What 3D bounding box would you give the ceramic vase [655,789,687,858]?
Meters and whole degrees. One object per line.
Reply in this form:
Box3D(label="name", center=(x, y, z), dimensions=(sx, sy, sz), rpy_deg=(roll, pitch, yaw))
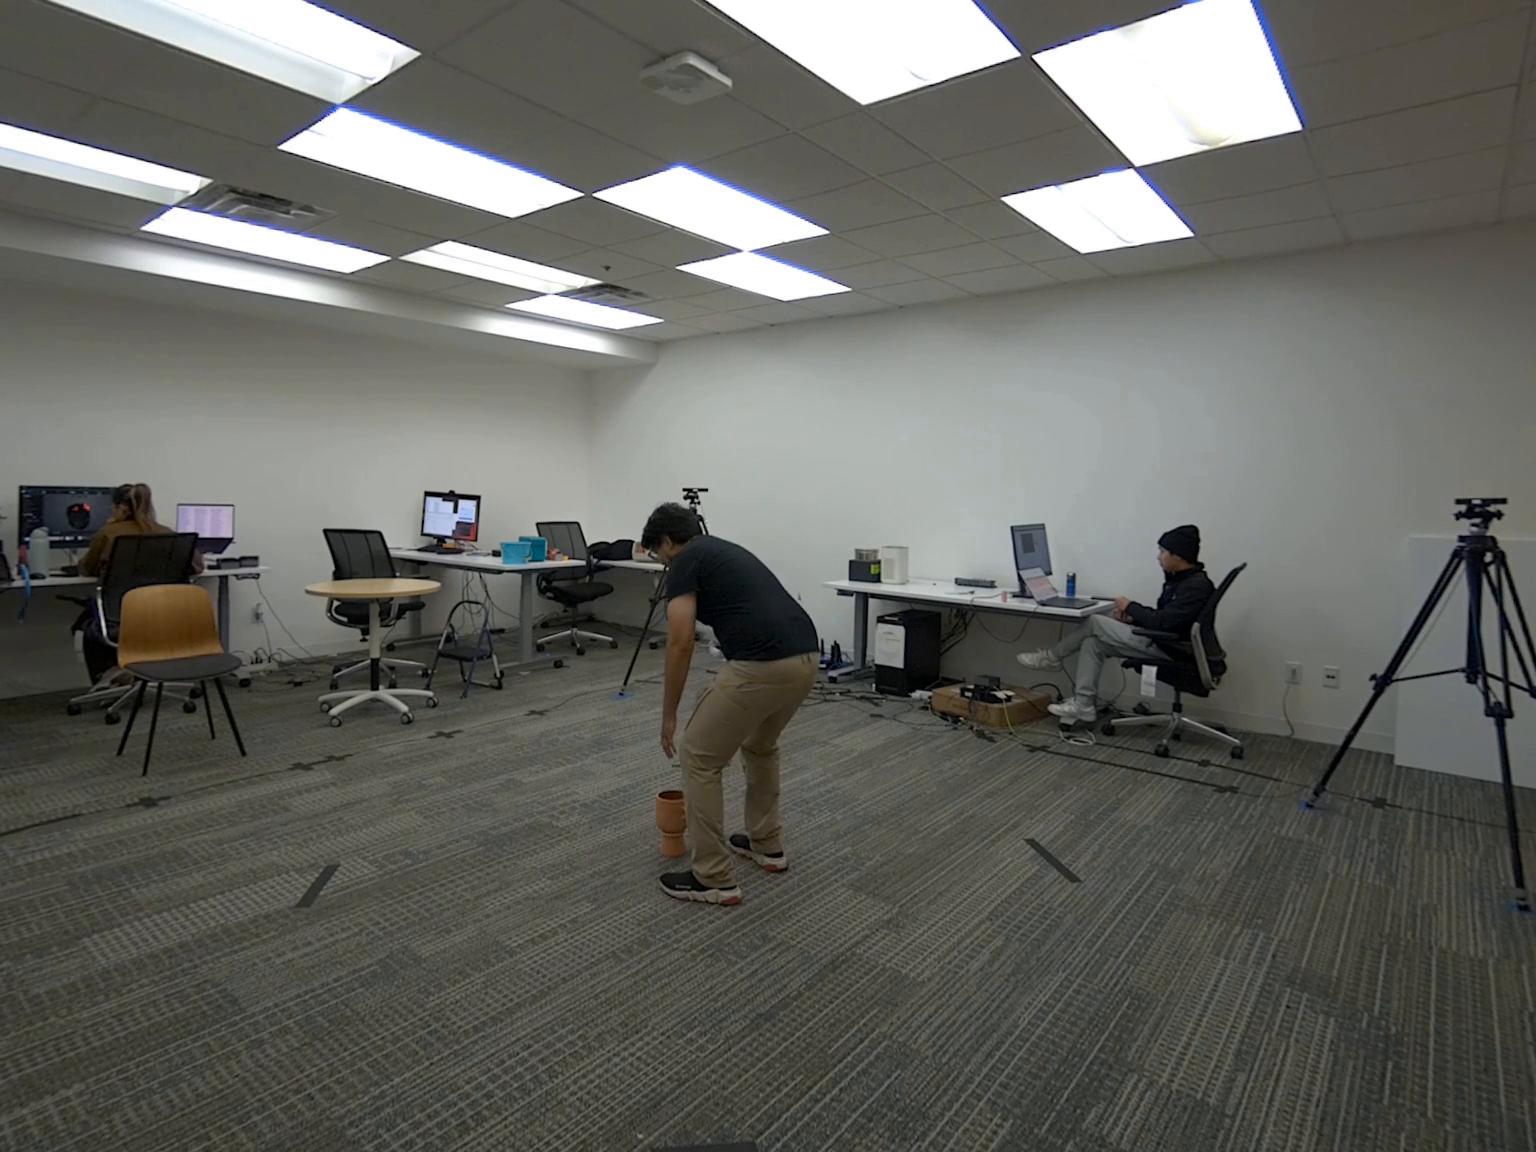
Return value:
Box3D(label="ceramic vase", center=(-0.378, 0.941, 3.259), dimensions=(0.134, 0.219, 0.159), rpy_deg=(0, 3, -2))
